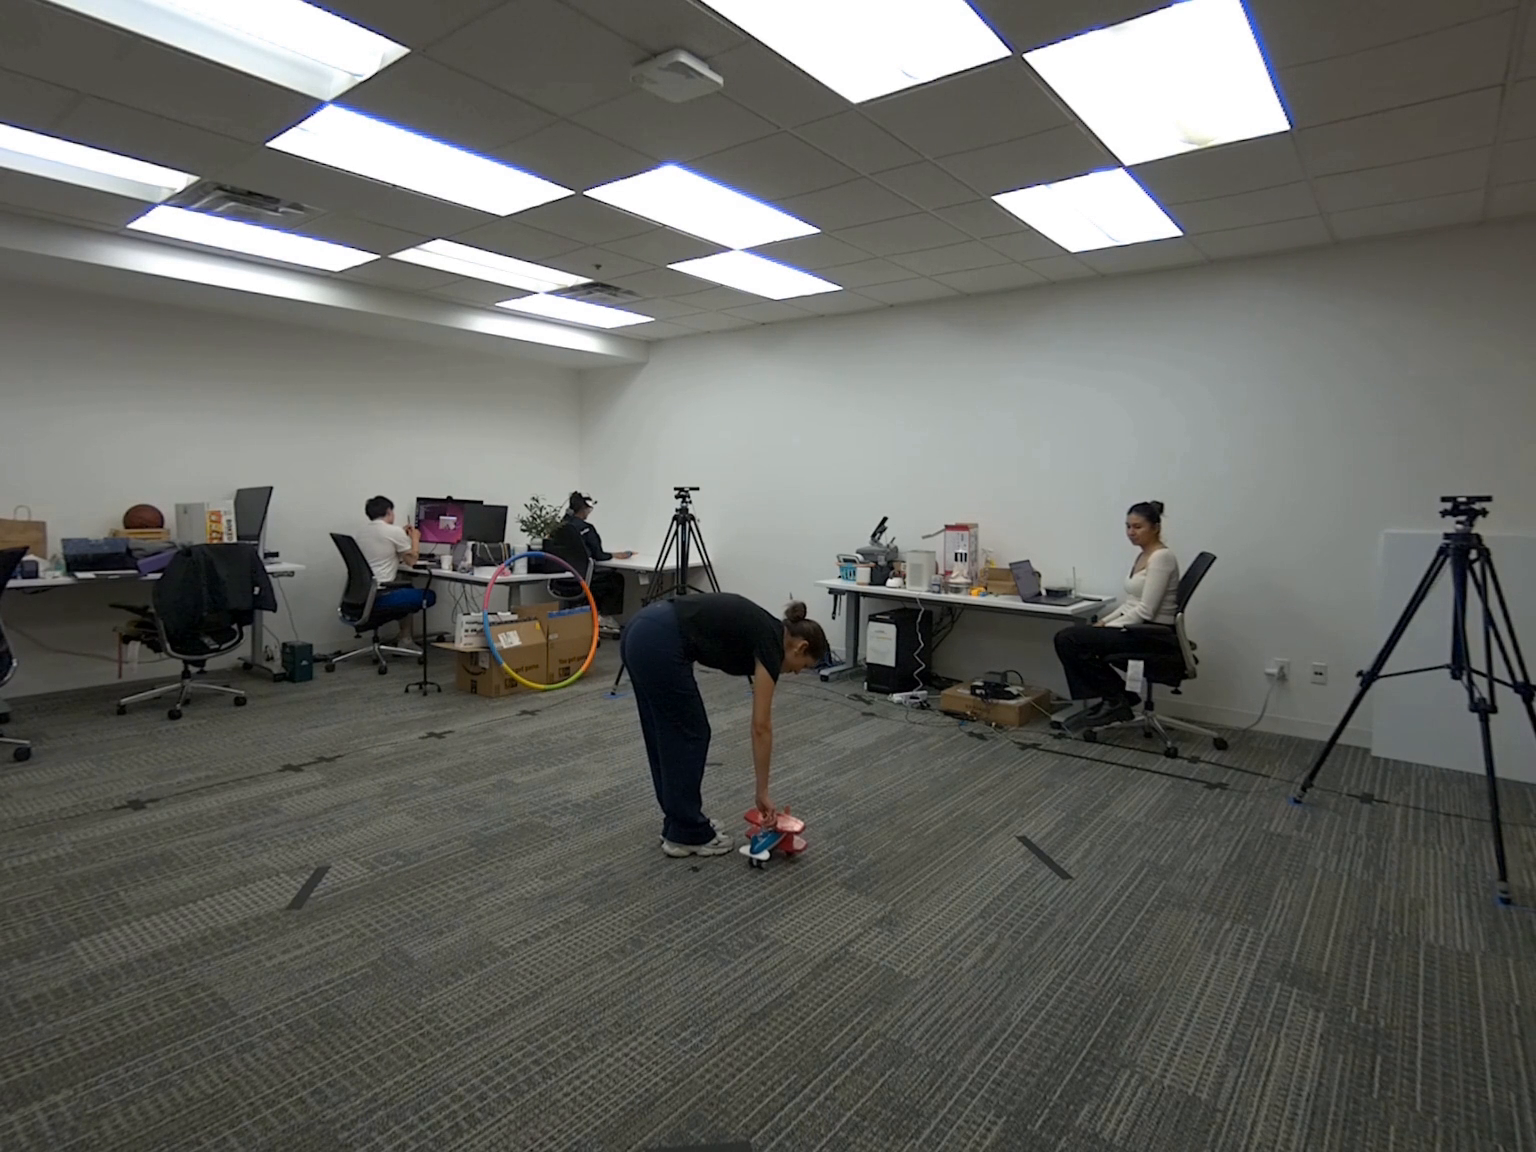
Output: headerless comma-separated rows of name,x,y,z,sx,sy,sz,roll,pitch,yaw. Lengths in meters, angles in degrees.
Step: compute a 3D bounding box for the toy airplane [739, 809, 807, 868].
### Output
toy airplane,0.037,0.992,3.202,0.253,0.156,0.258,2,3,6
